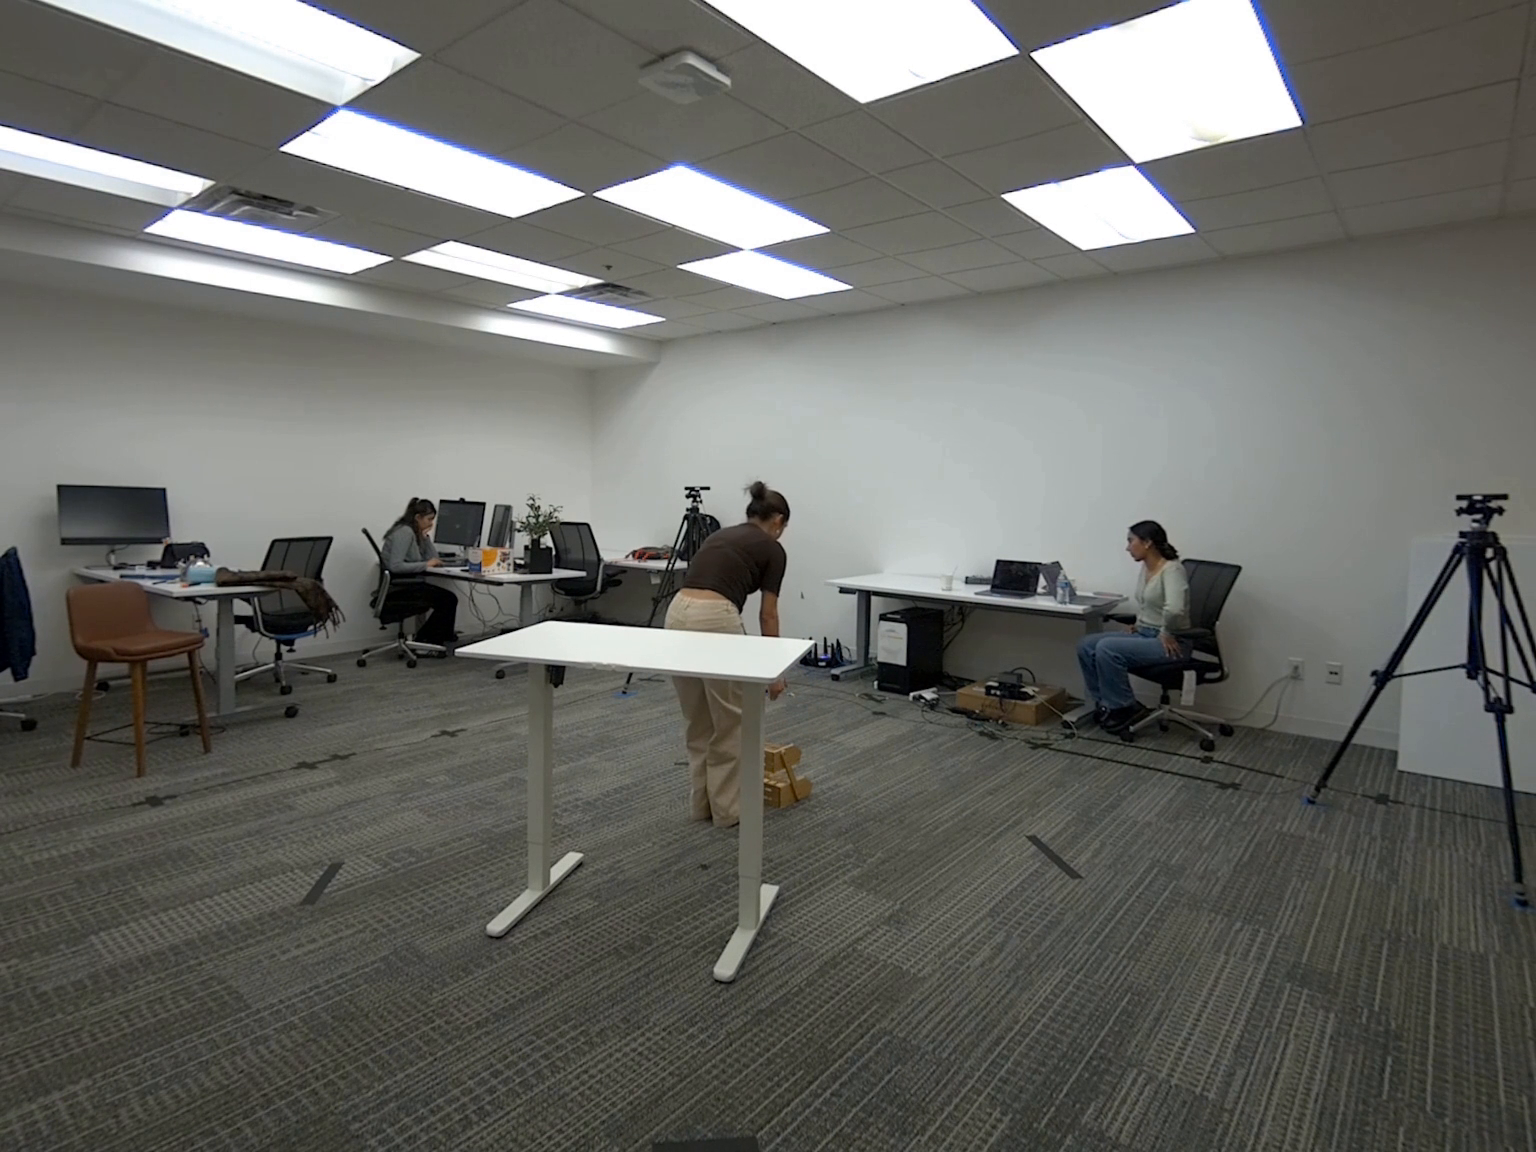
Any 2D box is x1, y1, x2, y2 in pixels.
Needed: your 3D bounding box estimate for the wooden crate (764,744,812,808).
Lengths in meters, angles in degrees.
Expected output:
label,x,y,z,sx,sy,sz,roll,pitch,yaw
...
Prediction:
label,x,y,z,sx,sy,sz,roll,pitch,yaw
wooden crate,-0.011,0.862,3.877,0.335,0.272,0.293,4,7,39
